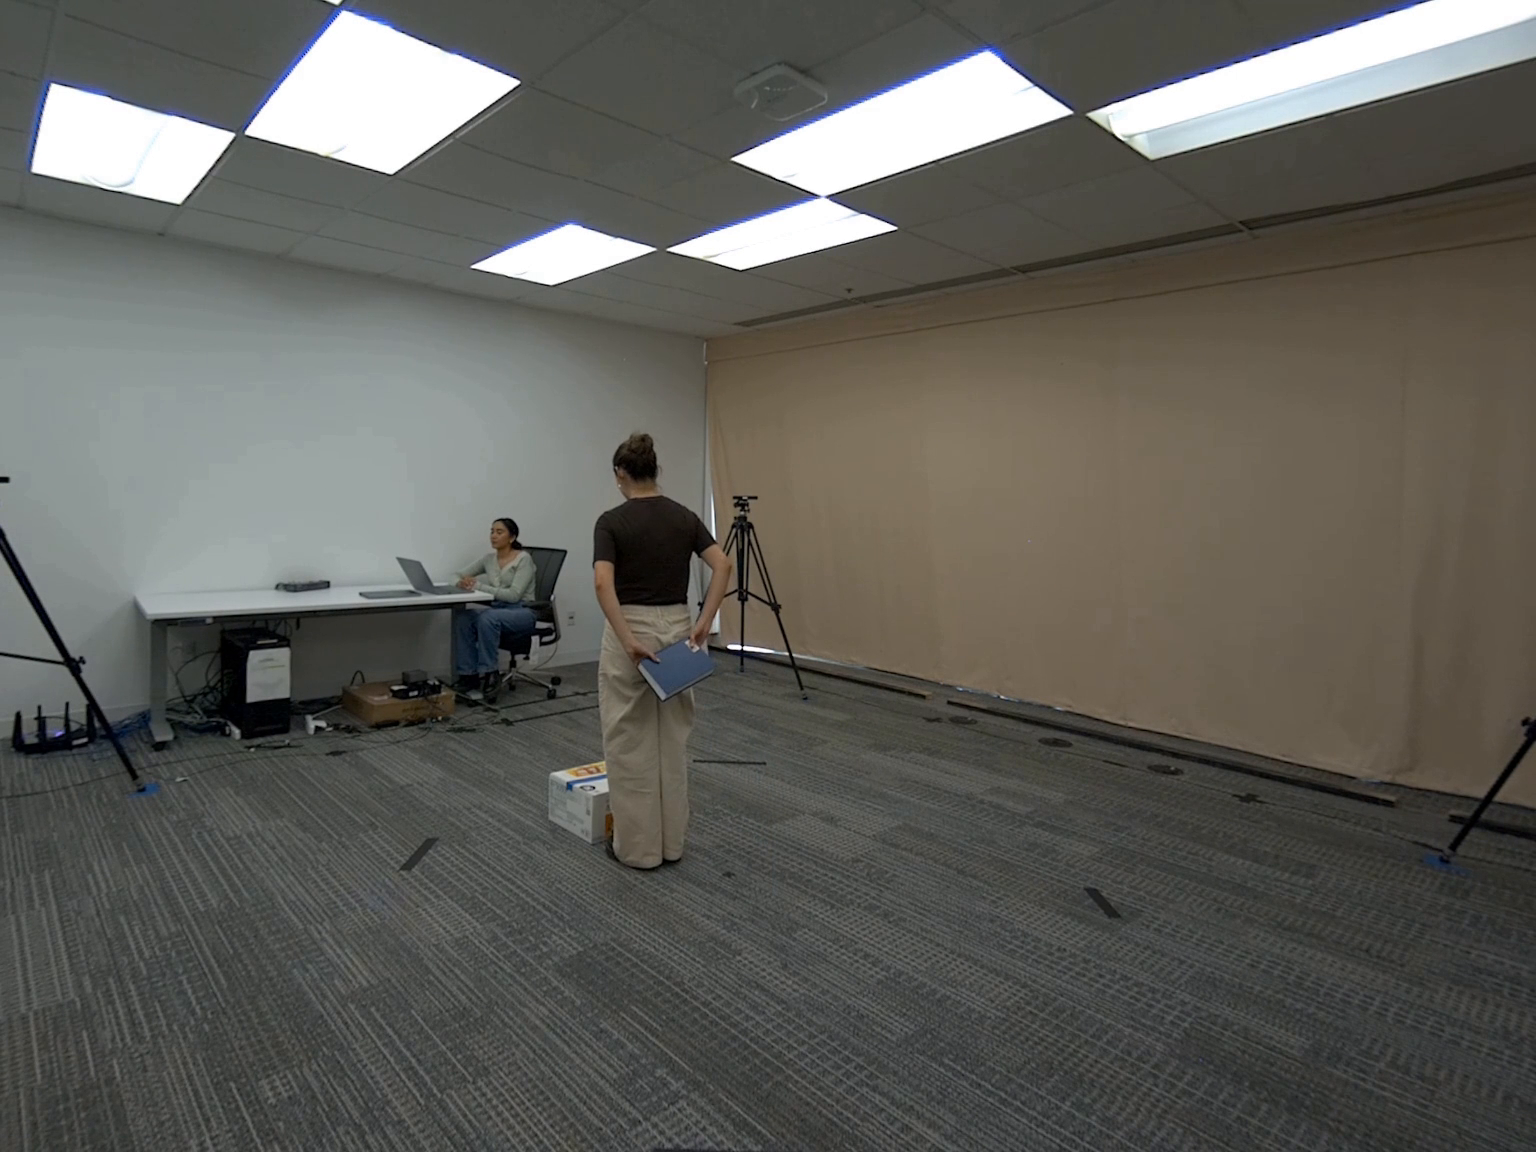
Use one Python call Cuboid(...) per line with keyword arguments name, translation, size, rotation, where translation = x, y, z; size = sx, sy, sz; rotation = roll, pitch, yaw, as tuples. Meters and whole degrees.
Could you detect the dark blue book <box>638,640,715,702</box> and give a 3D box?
Cuboid(name="dark blue book", translation=(-0.338, 0.326, 3.014), size=(0.242, 0.044, 0.167), rotation=(-24, 60, -37))
